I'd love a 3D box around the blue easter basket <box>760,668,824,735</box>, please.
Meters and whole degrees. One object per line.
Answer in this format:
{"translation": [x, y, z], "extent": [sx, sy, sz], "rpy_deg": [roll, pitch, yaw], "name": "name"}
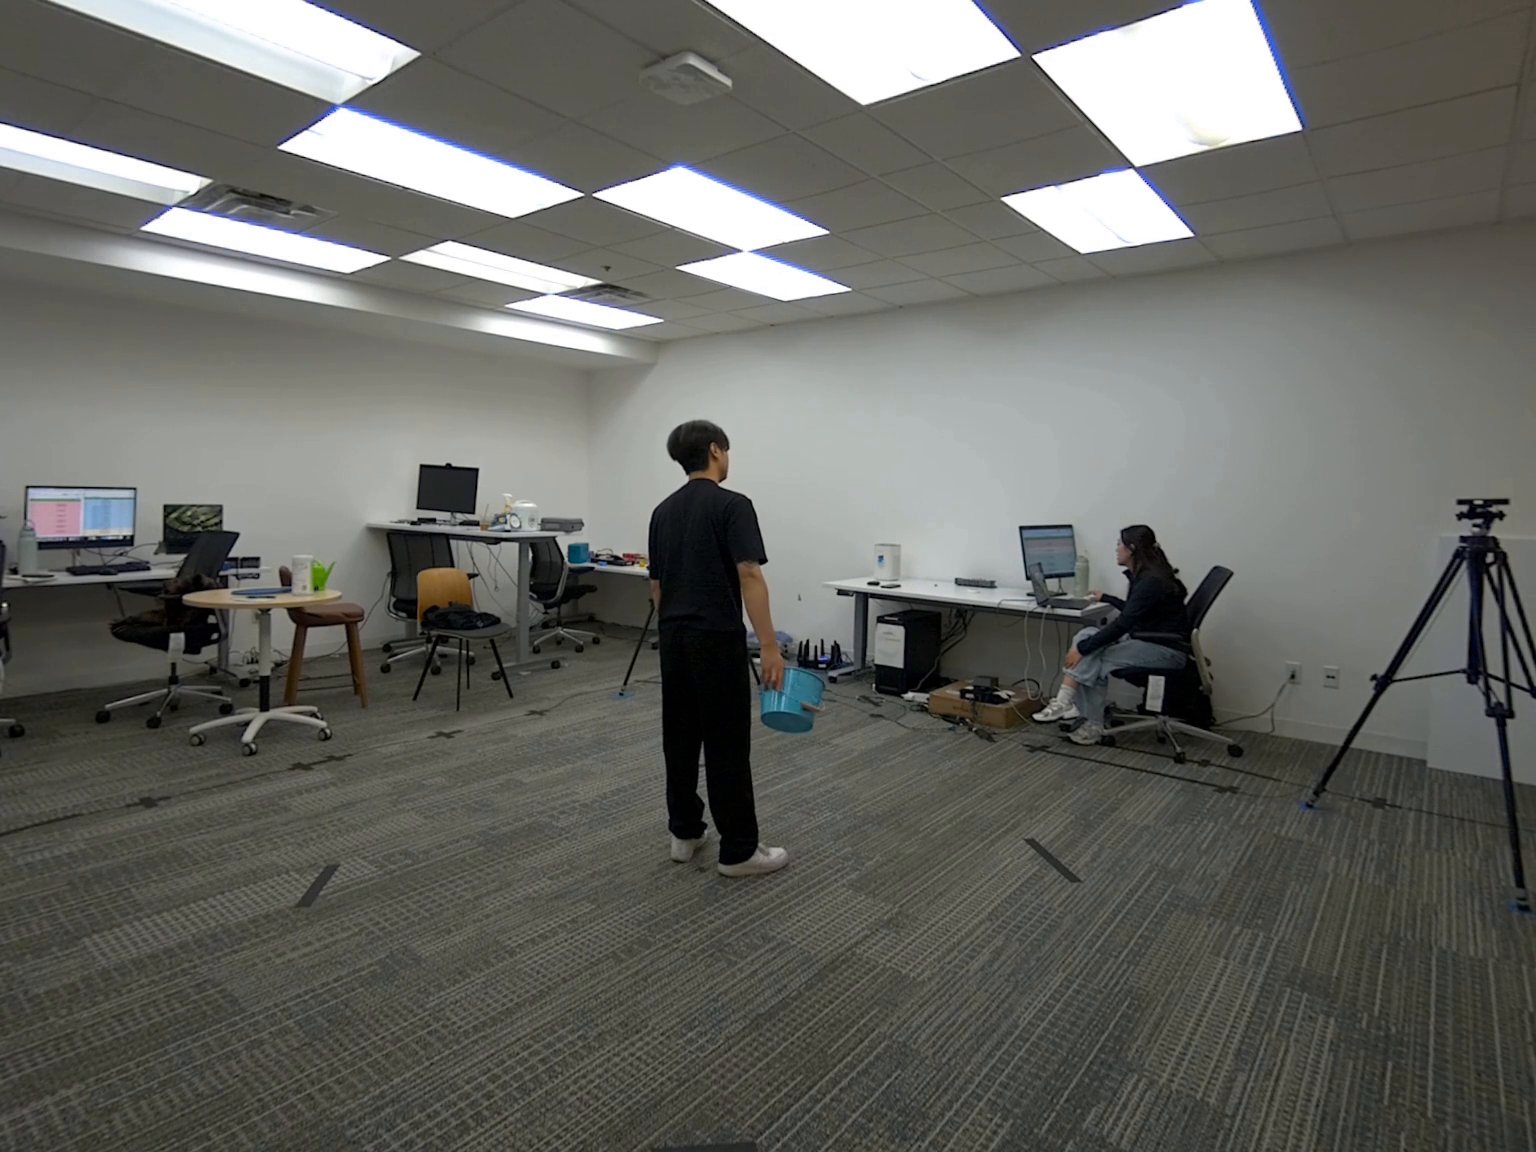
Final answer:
{"translation": [0.063, 0.428, 2.948], "extent": [0.245, 0.159, 0.237], "rpy_deg": [10, -33, 5], "name": "blue easter basket"}
